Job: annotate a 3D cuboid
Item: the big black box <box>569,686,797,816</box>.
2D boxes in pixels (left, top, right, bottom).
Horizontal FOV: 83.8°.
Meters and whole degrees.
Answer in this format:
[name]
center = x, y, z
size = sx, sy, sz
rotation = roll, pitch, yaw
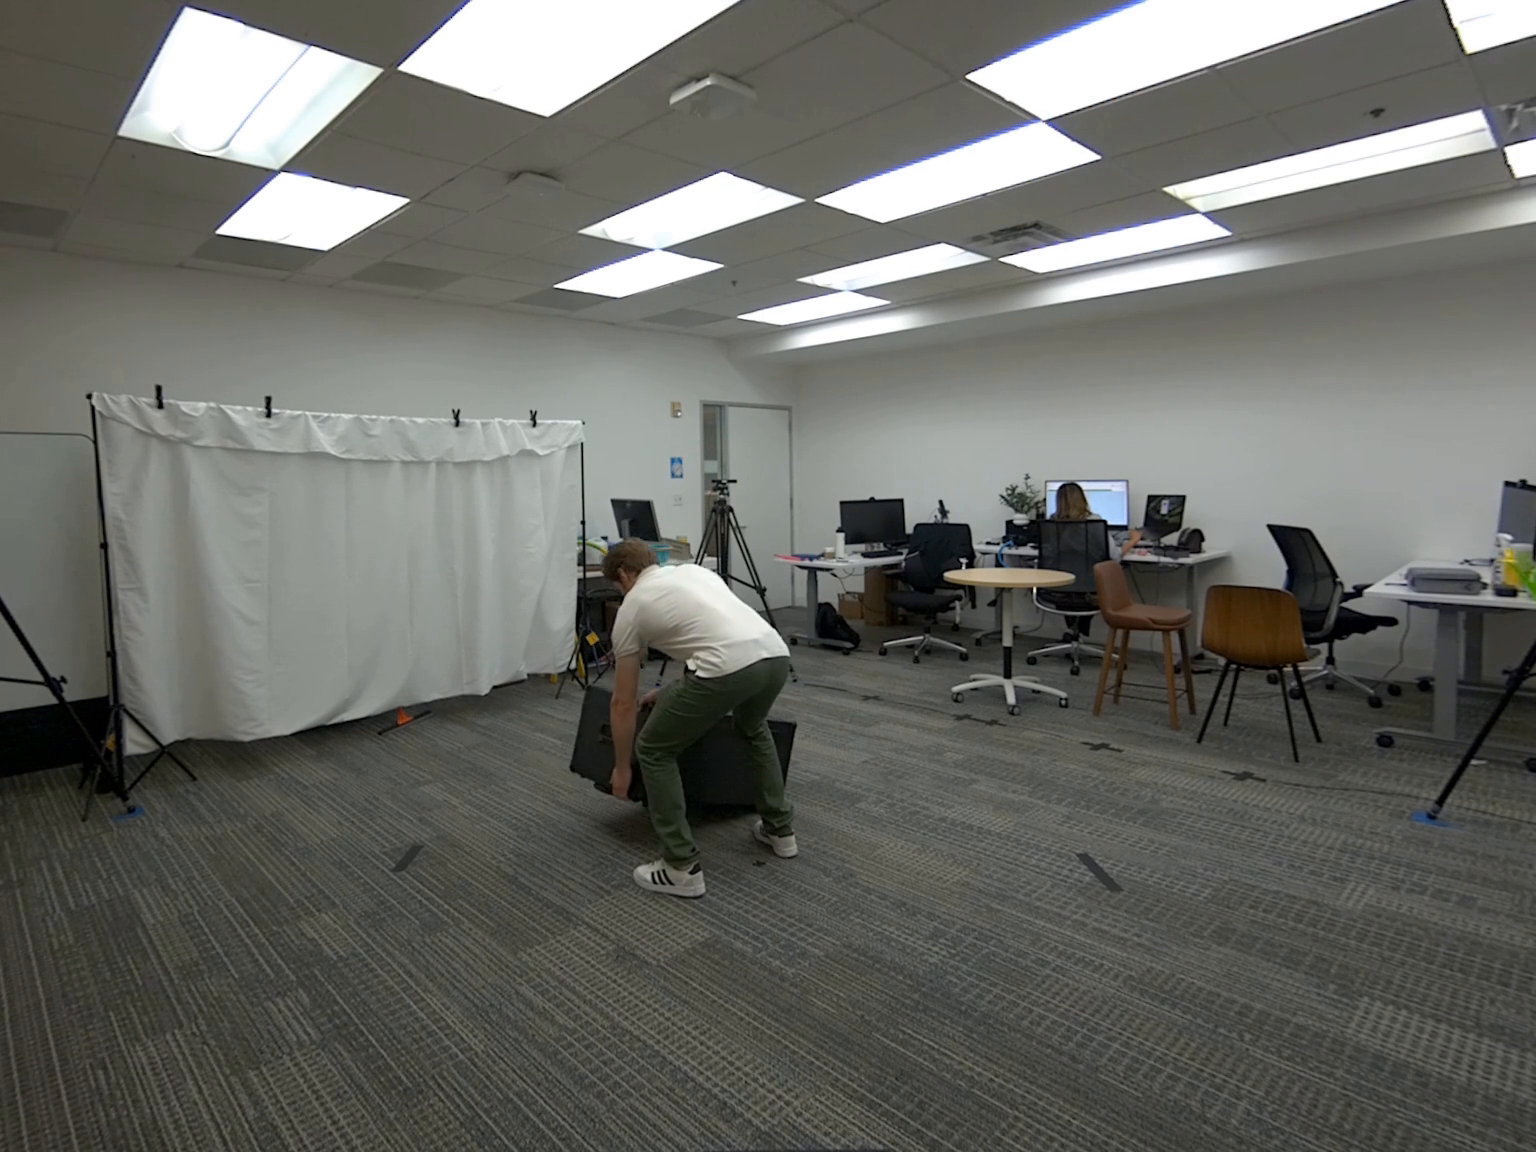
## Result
[big black box]
center = -0.320, 0.728, 3.623
size = 0.839, 0.387, 0.539
rotation = 15, -8, -39
